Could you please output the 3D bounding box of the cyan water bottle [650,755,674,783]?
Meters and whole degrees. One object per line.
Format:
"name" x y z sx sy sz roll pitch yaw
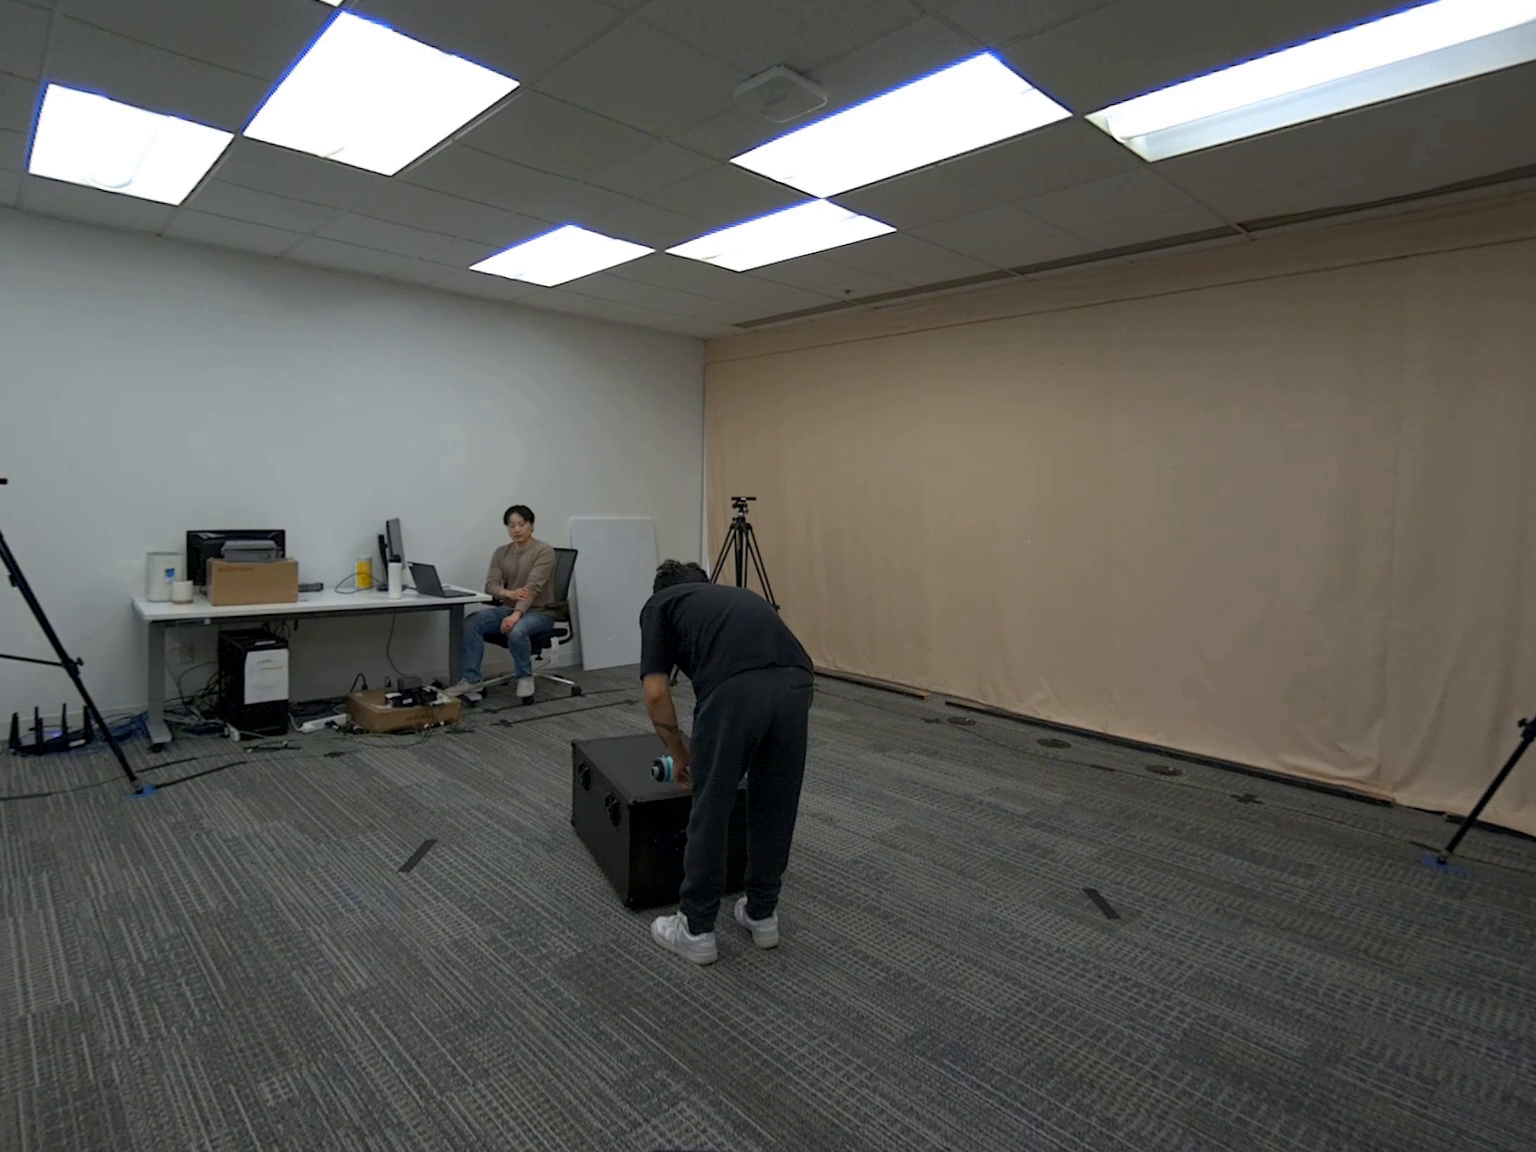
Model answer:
"cyan water bottle" -0.279 0.674 2.934 0.278 0.092 0.094 4 3 -24
